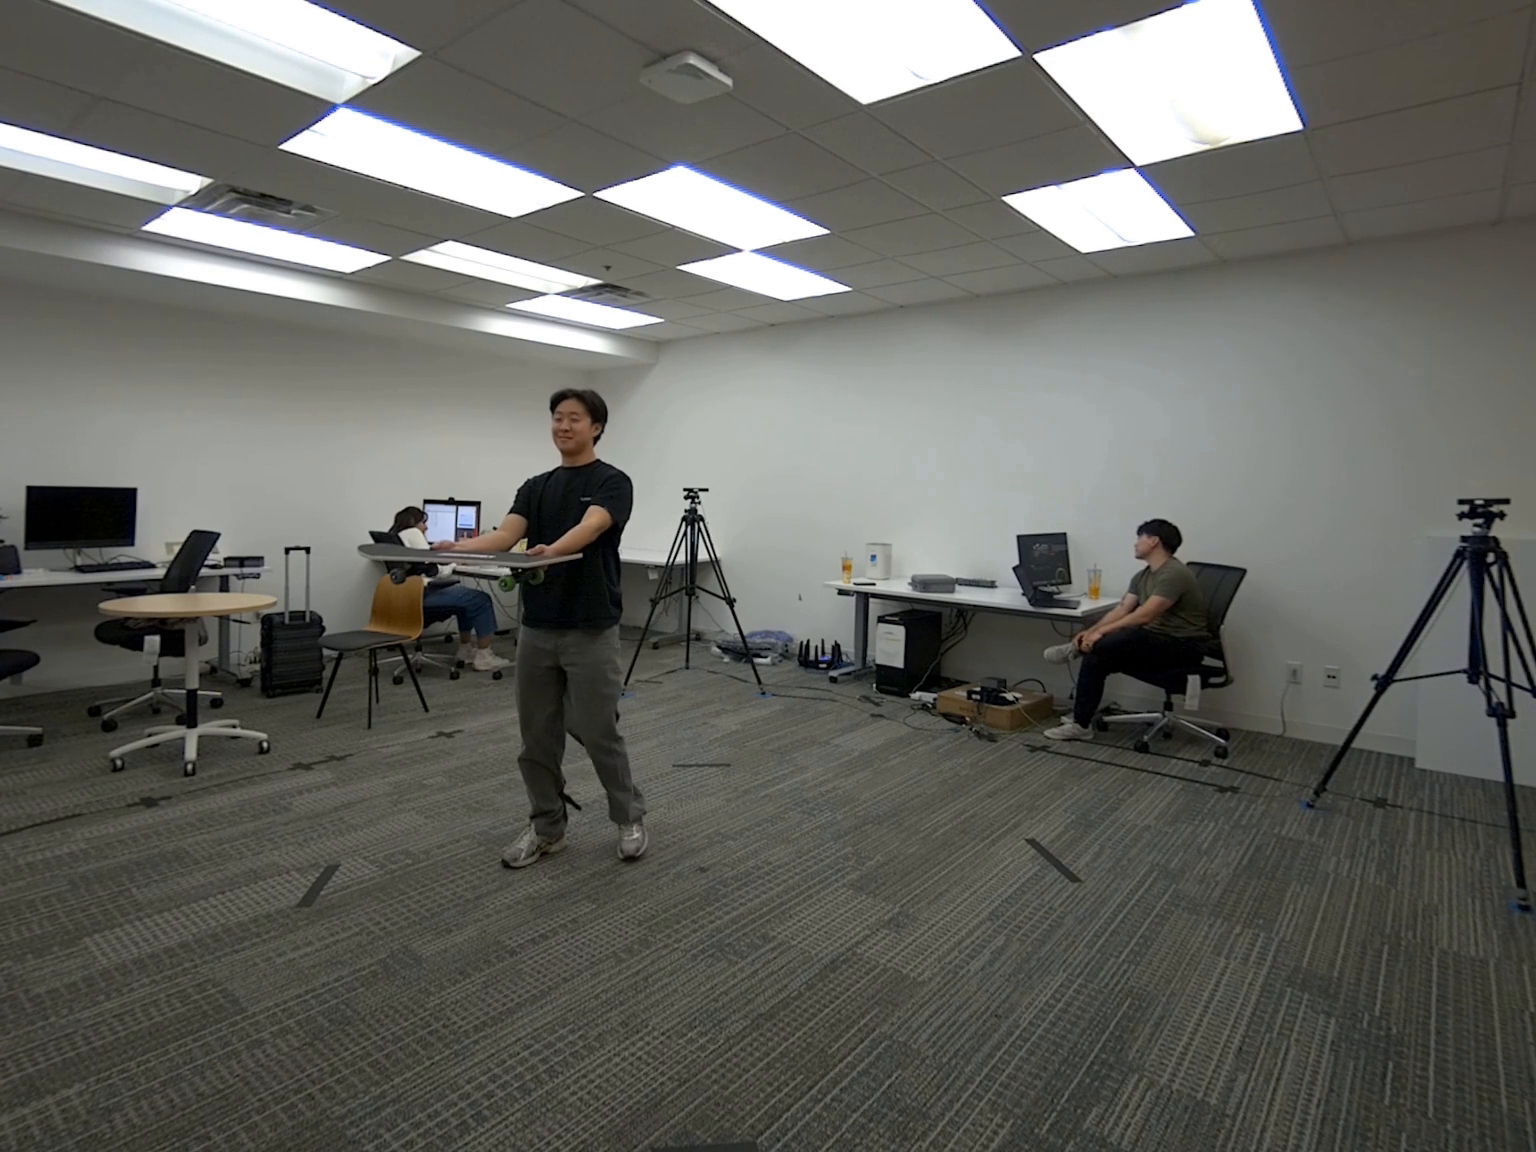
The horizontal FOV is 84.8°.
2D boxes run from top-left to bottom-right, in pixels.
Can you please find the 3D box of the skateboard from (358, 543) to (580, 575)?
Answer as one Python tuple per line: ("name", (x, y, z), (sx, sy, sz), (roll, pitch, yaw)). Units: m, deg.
("skateboard", (-0.934, -0.029, 2.630), (0.802, 0.109, 0.191), (3, 10, 20))
